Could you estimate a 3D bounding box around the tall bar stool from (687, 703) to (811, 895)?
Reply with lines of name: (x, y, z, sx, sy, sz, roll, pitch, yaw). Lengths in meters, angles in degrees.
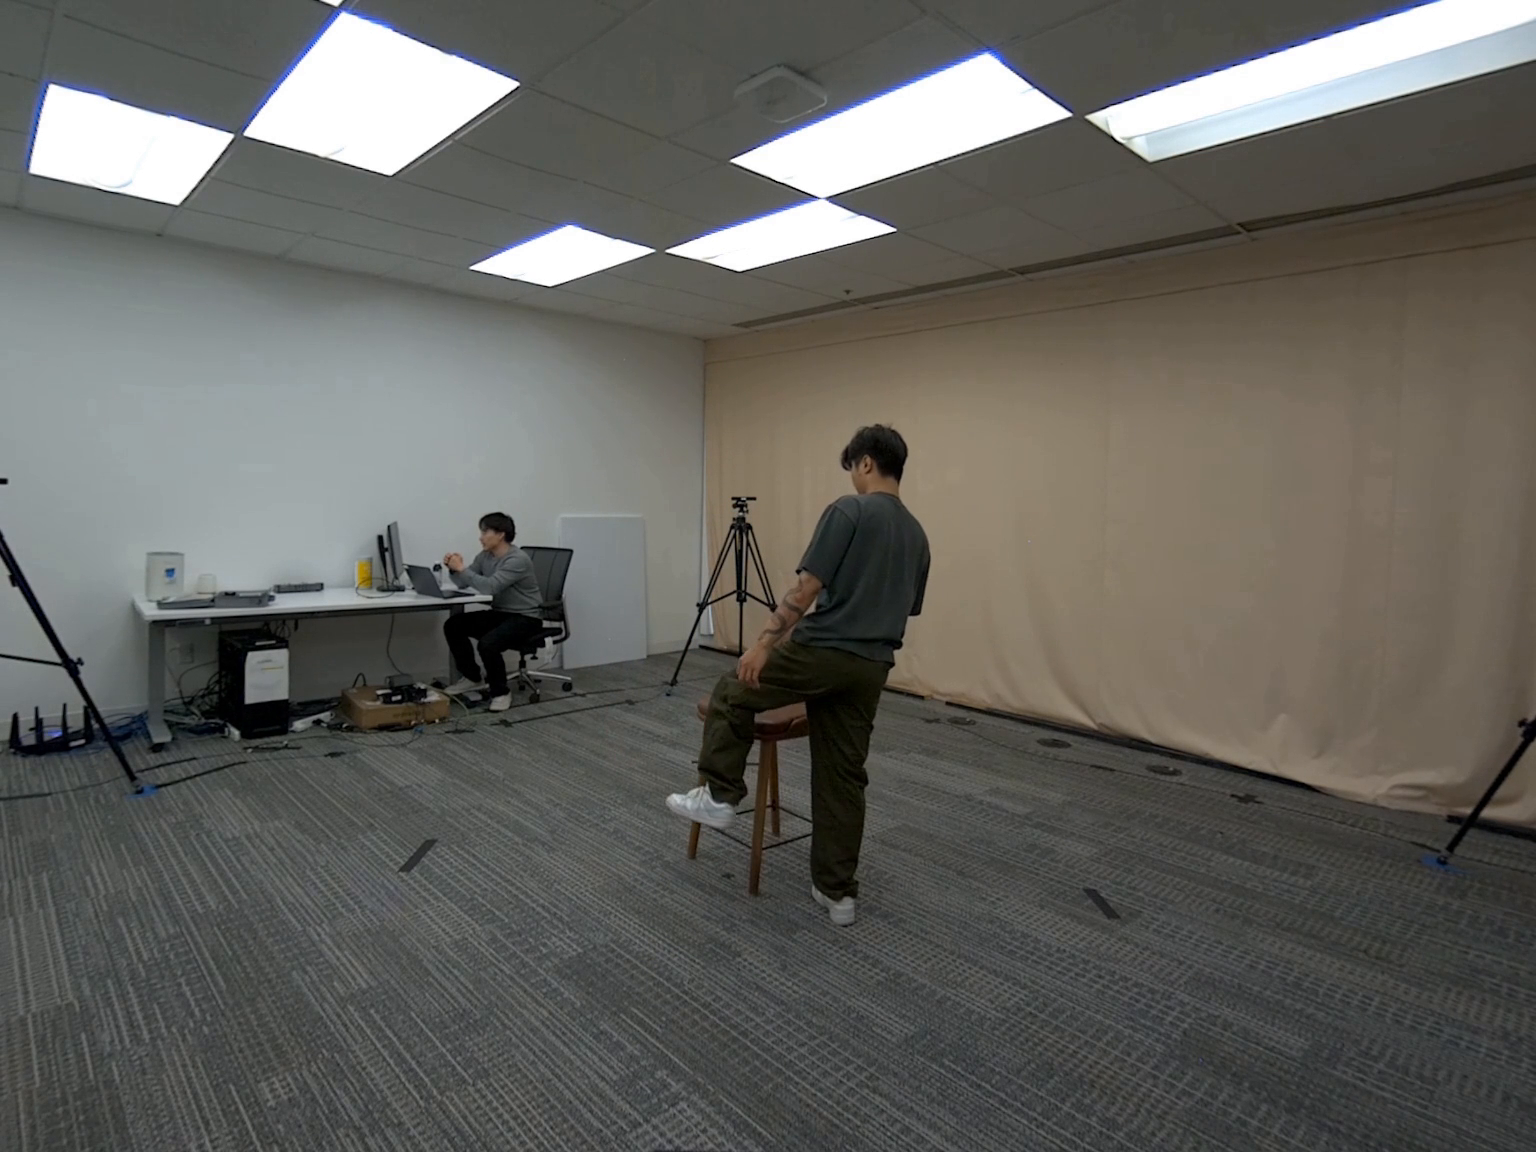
tall bar stool: (-0.002, 0.664, 3.222, 0.456, 0.889, 0.468, 1, 2, -39)
